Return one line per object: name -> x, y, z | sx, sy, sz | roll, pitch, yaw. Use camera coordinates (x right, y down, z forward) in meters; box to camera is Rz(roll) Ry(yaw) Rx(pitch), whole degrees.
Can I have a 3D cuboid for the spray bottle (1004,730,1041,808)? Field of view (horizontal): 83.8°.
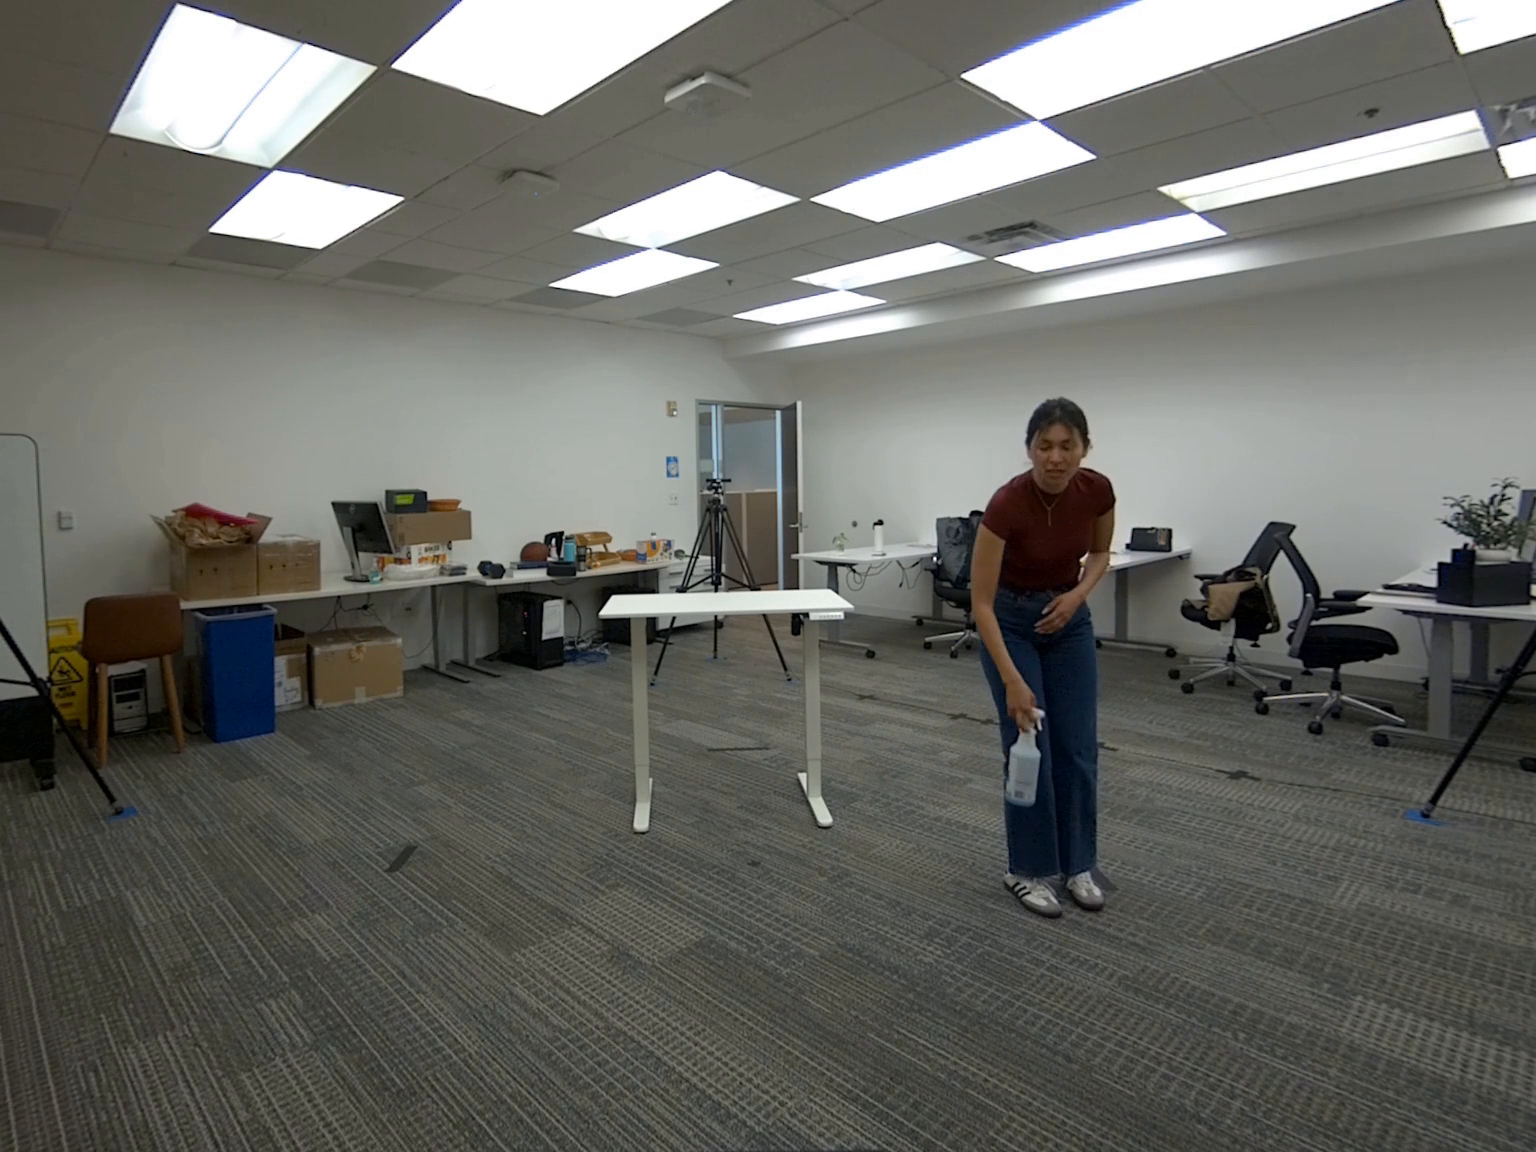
spray bottle -> 0.788, 0.547, 2.581 | 0.087, 0.295, 0.091 | 3, 8, -3
